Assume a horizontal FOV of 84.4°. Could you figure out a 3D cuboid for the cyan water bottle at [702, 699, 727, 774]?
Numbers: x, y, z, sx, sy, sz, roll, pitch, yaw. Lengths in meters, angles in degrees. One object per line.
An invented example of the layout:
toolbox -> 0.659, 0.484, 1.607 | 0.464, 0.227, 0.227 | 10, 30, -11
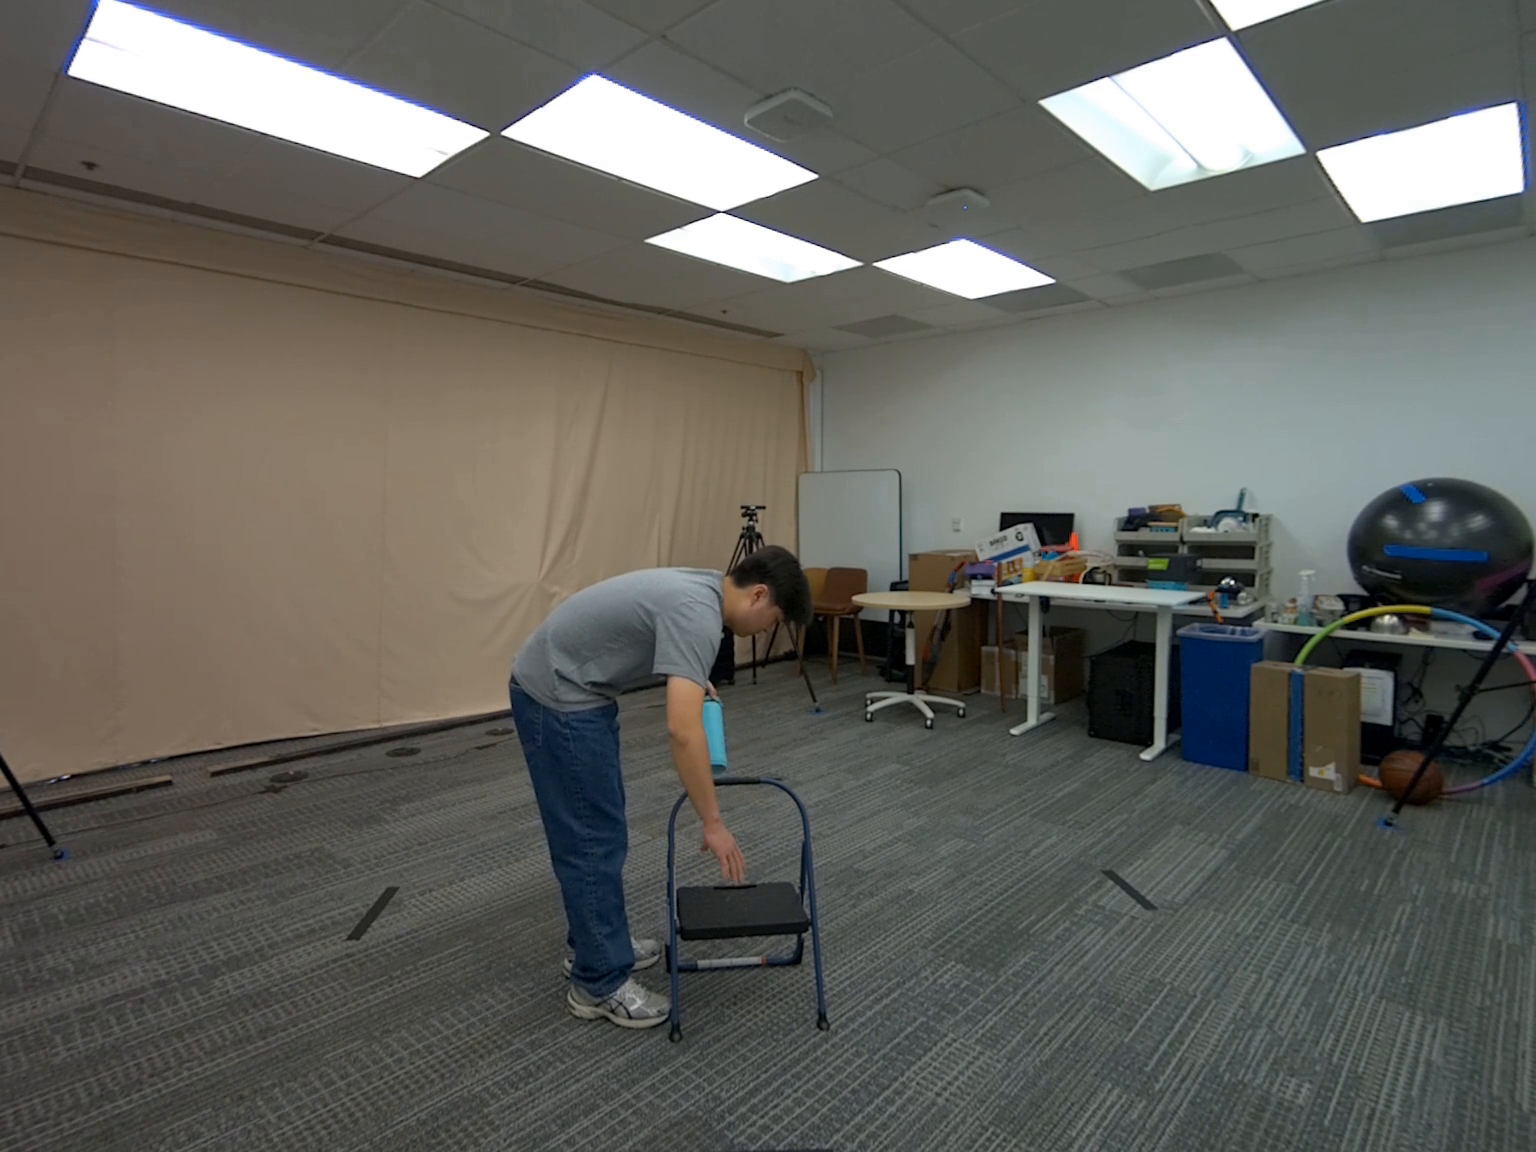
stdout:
cyan water bottle -> -0.181, 0.559, 2.844 | 0.092, 0.289, 0.091 | -2, -36, -3
